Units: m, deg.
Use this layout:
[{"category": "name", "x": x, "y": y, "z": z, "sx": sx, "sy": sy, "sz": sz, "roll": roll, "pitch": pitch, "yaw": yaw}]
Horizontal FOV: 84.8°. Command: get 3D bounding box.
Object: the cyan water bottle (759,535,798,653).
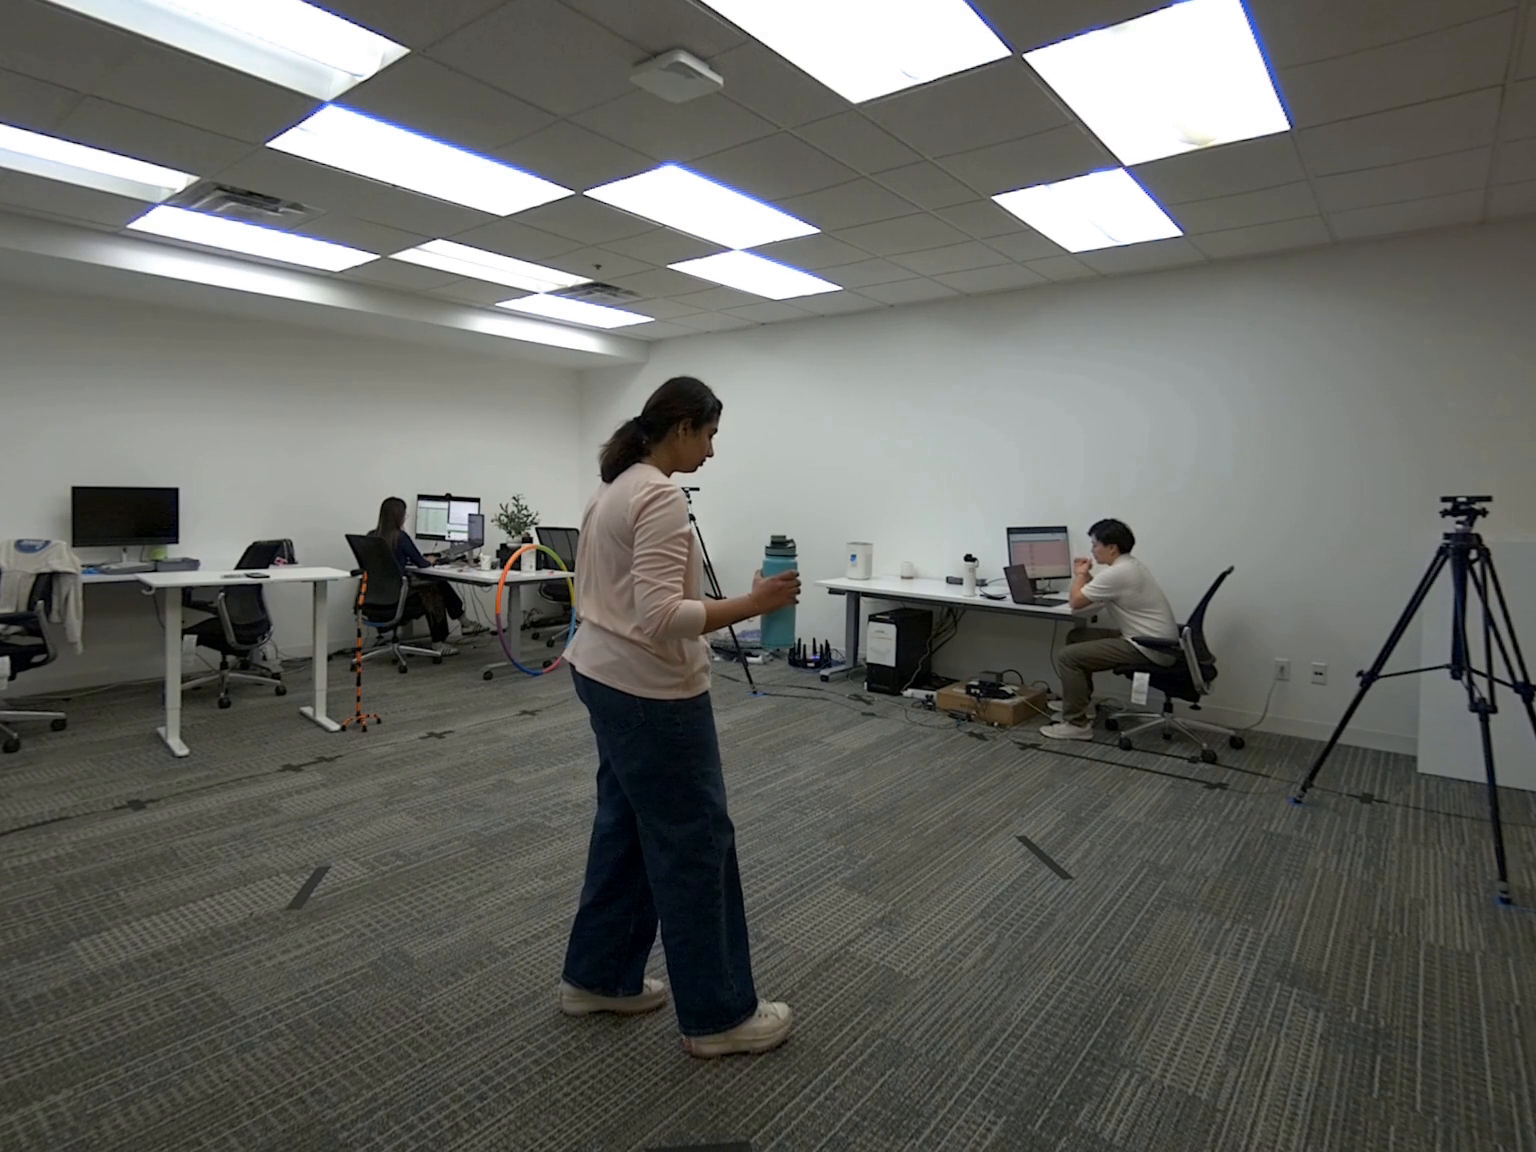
[{"category": "cyan water bottle", "x": 0.020, "y": 0.037, "z": 2.135, "sx": 0.092, "sy": 0.284, "sz": 0.092, "roll": 3, "pitch": -1, "yaw": -2}]
